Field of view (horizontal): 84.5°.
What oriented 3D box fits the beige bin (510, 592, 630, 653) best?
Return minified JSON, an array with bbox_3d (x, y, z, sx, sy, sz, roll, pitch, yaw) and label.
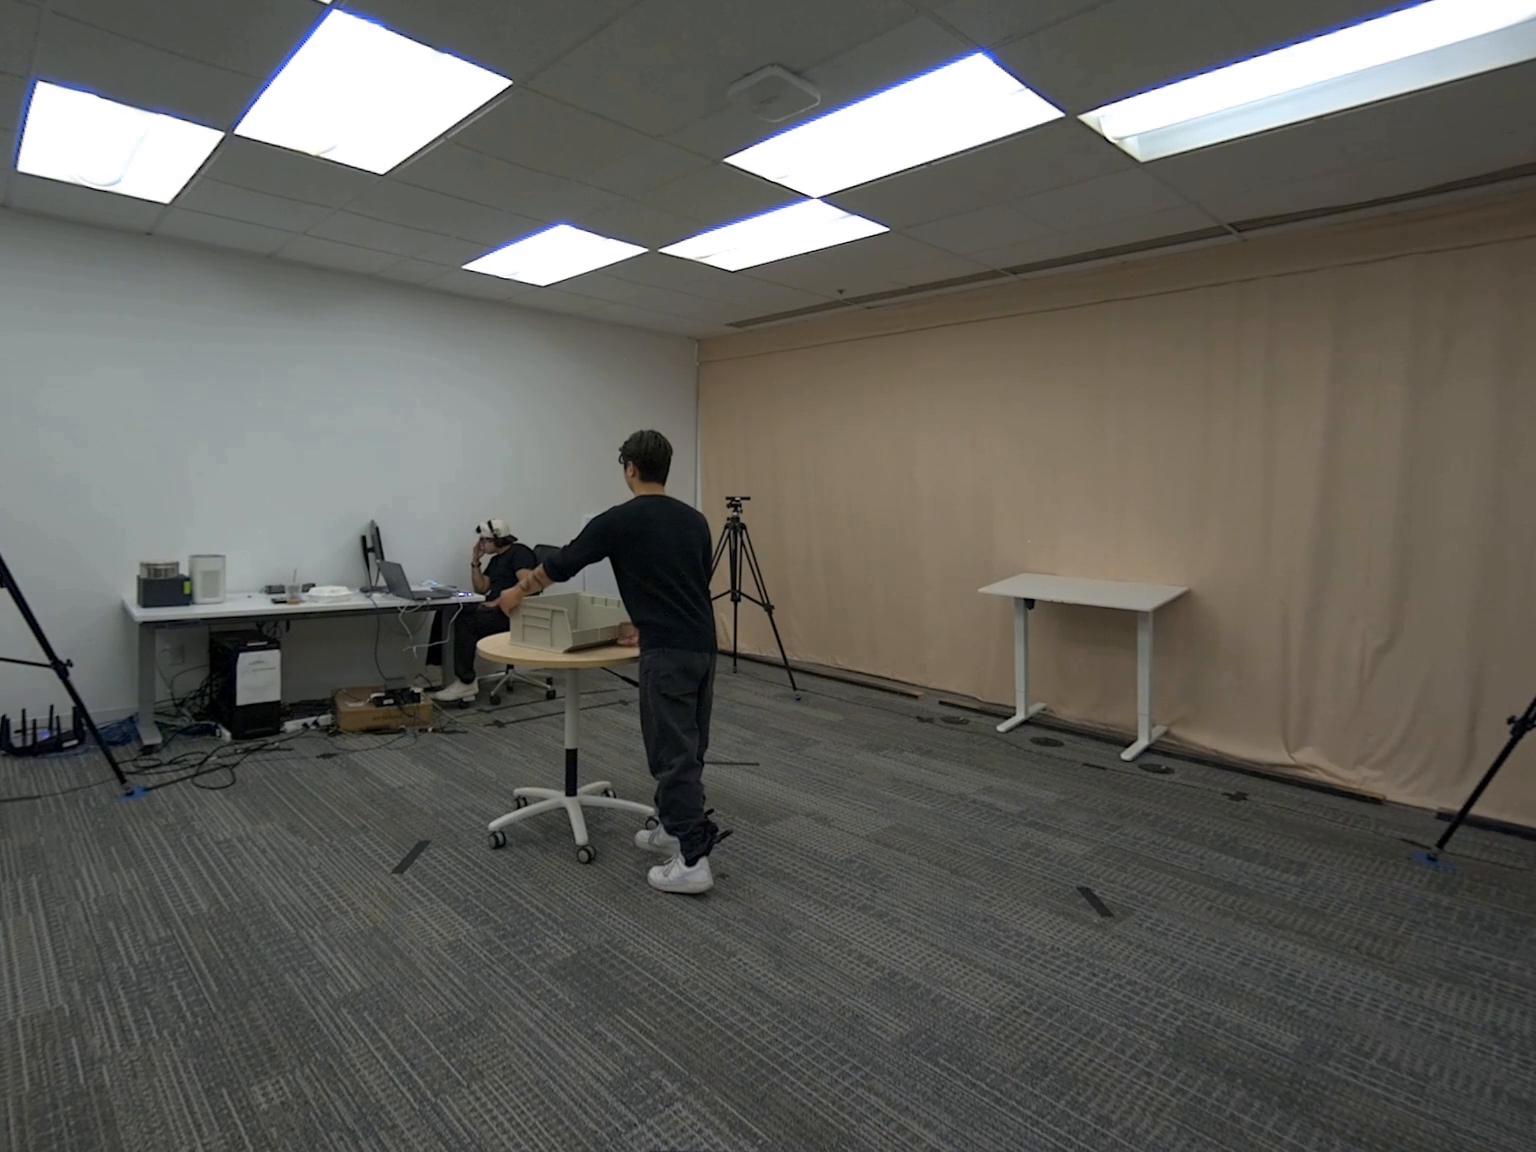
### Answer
[{"bbox_3d":[-0.797,0.190,3.474,0.386,0.188,0.414,4,6,33],"label":"beige bin"}]
